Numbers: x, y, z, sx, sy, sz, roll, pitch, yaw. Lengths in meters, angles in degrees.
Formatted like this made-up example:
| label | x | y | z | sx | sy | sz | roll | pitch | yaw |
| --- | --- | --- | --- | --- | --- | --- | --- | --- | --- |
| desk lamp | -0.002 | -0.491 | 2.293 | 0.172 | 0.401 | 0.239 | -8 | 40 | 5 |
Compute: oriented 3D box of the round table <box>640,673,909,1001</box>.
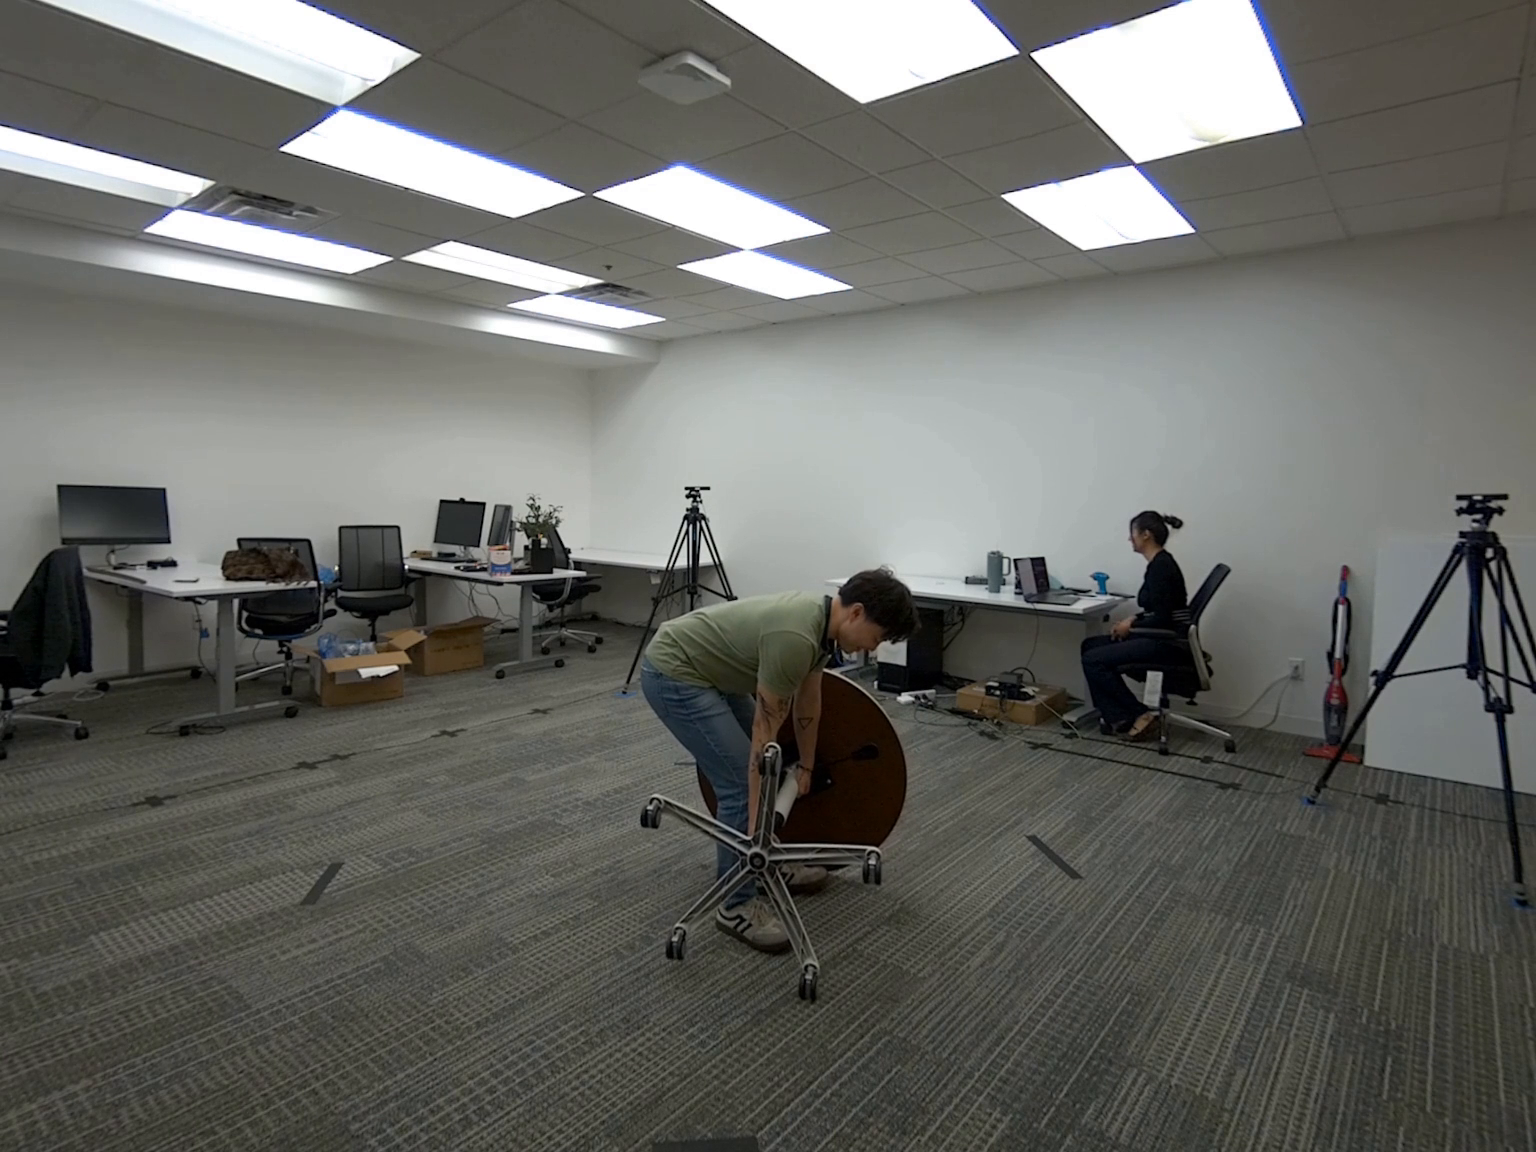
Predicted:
| label | x | y | z | sx | sy | sz | roll | pitch | yaw |
| --- | --- | --- | --- | --- | --- | --- | --- | --- | --- |
| round table | 0.029 | 0.756 | 2.686 | 0.776 | 0.758 | 0.788 | 2 | 9 | 13 |
